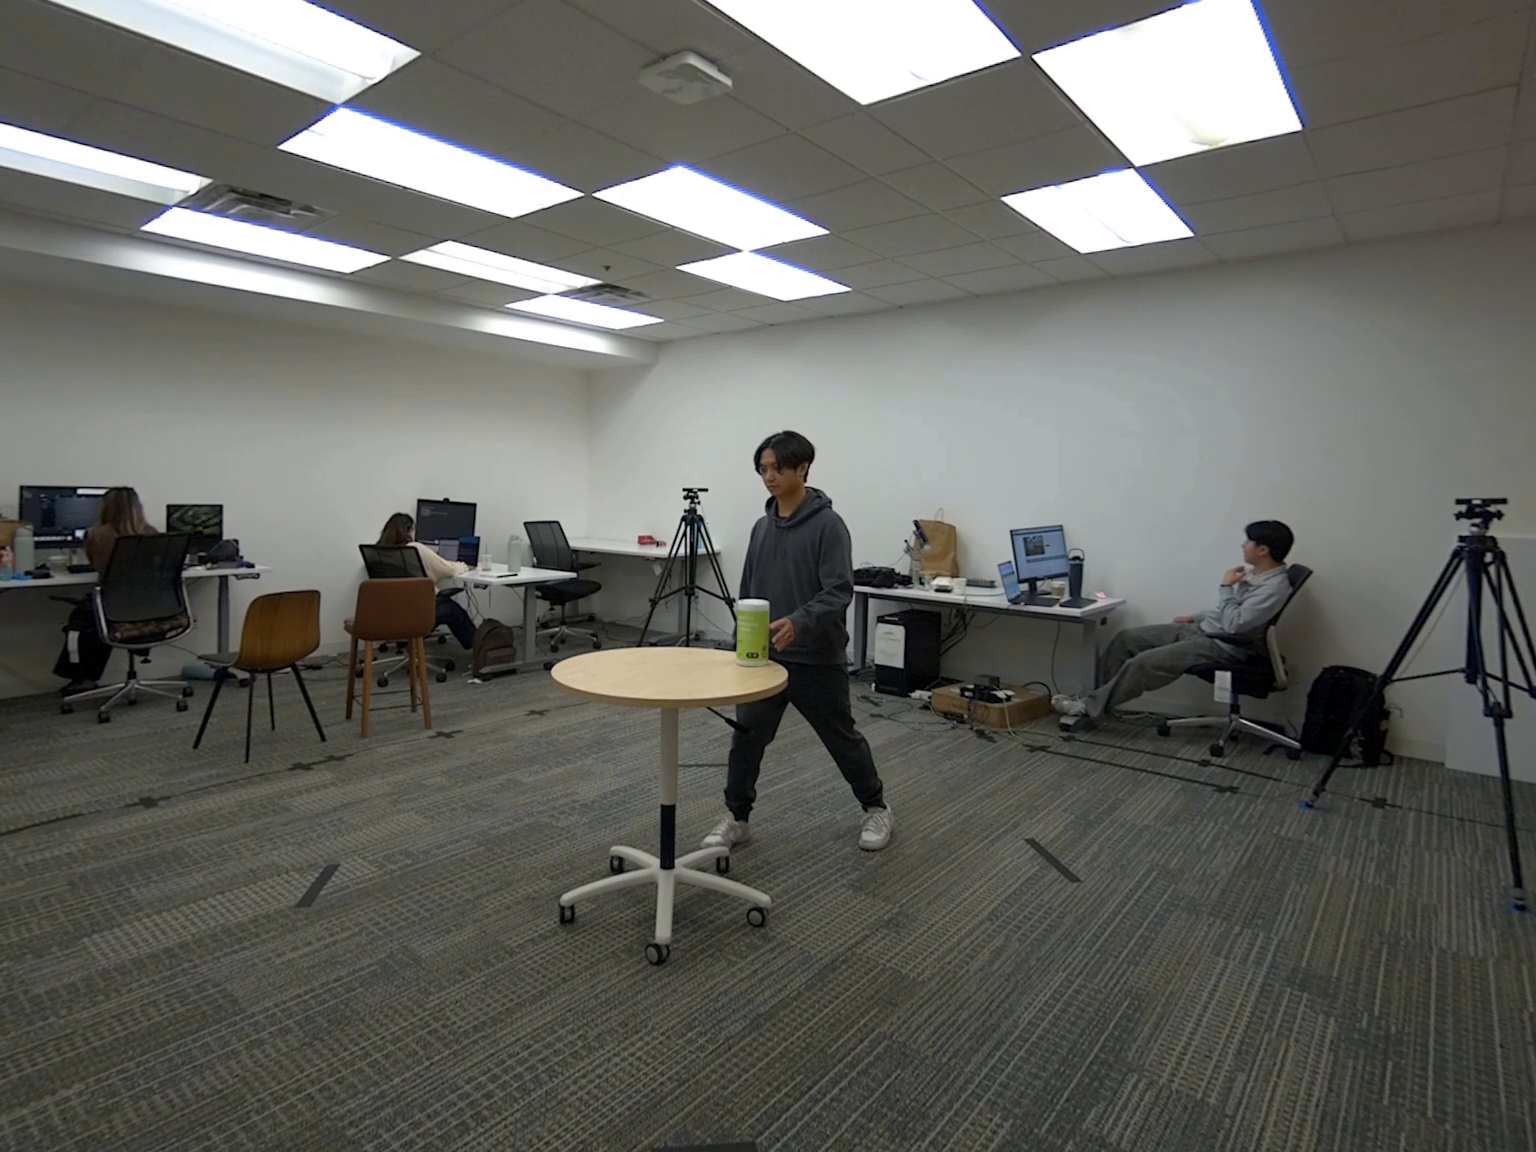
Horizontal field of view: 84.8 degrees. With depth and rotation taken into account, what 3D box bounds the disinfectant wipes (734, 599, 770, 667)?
[{"bbox_3d":[-0.057,0.186,2.886,0.118,0.217,0.118,0,3,-2],"label":"disinfectant wipes"}]
